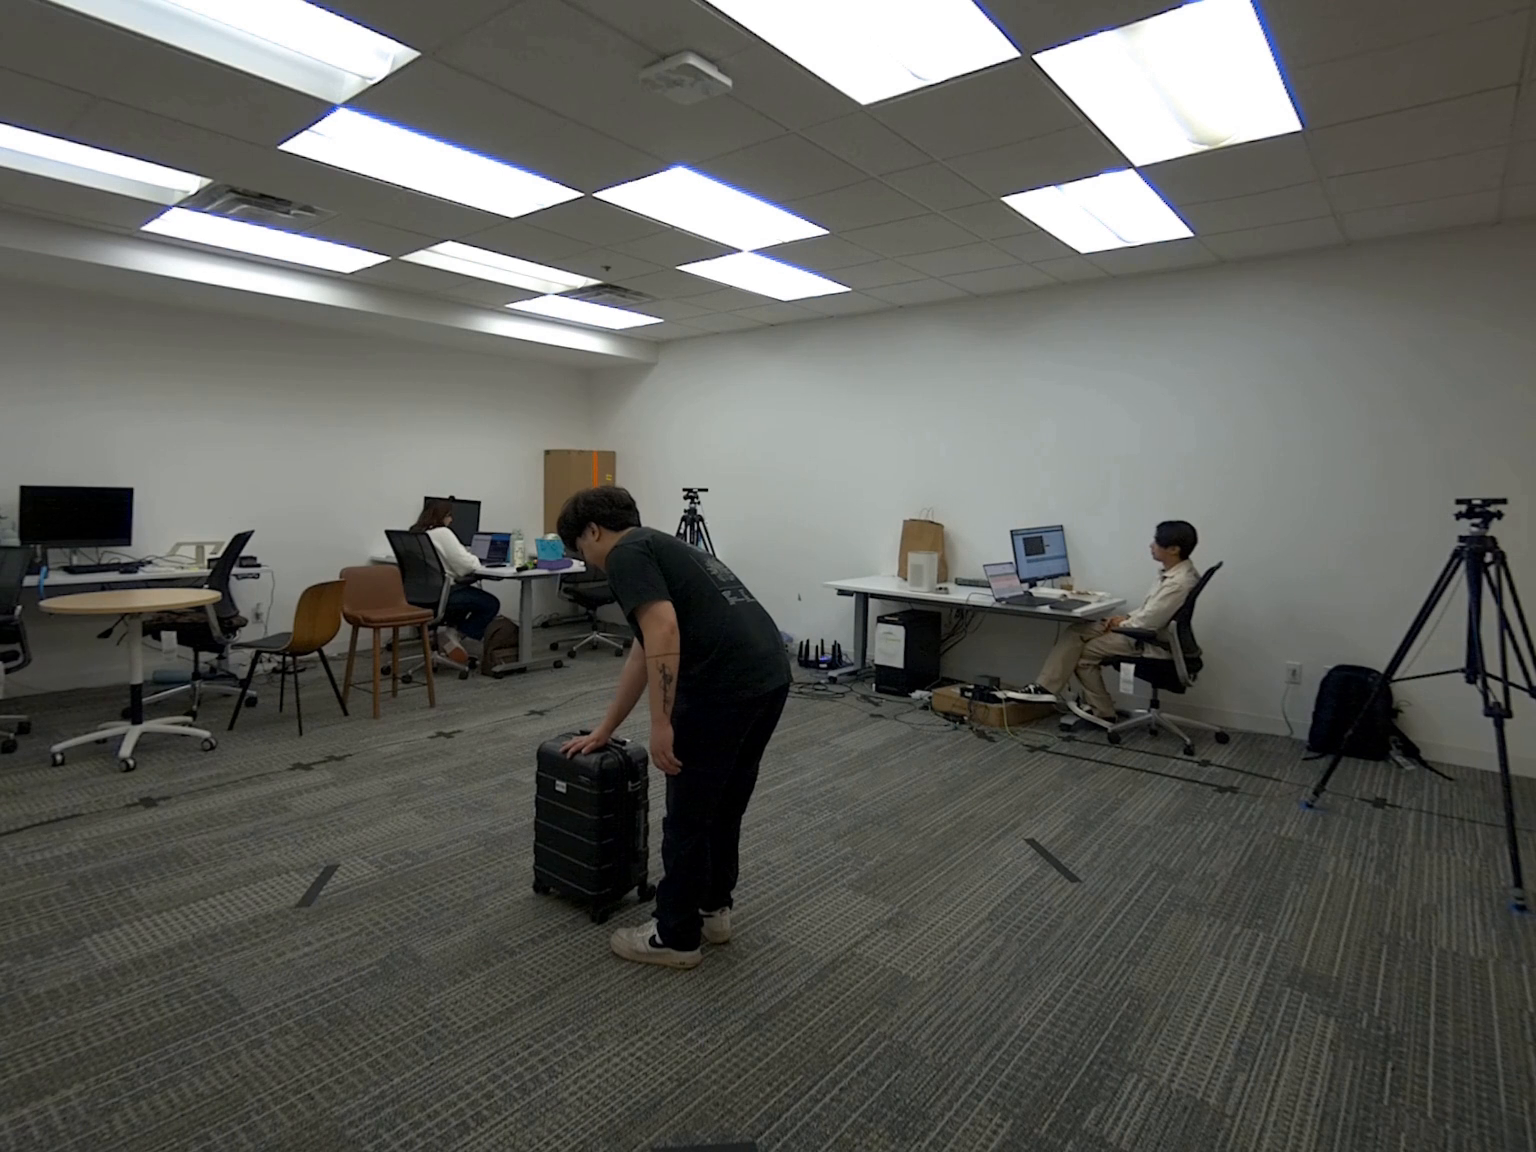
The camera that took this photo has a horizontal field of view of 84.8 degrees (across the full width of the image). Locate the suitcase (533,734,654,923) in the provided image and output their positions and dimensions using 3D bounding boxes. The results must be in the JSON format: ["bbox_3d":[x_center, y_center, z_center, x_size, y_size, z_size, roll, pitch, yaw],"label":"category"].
[{"bbox_3d":[-0.603,0.809,2.863,0.388,0.547,0.241,4,5,39],"label":"suitcase"}]
